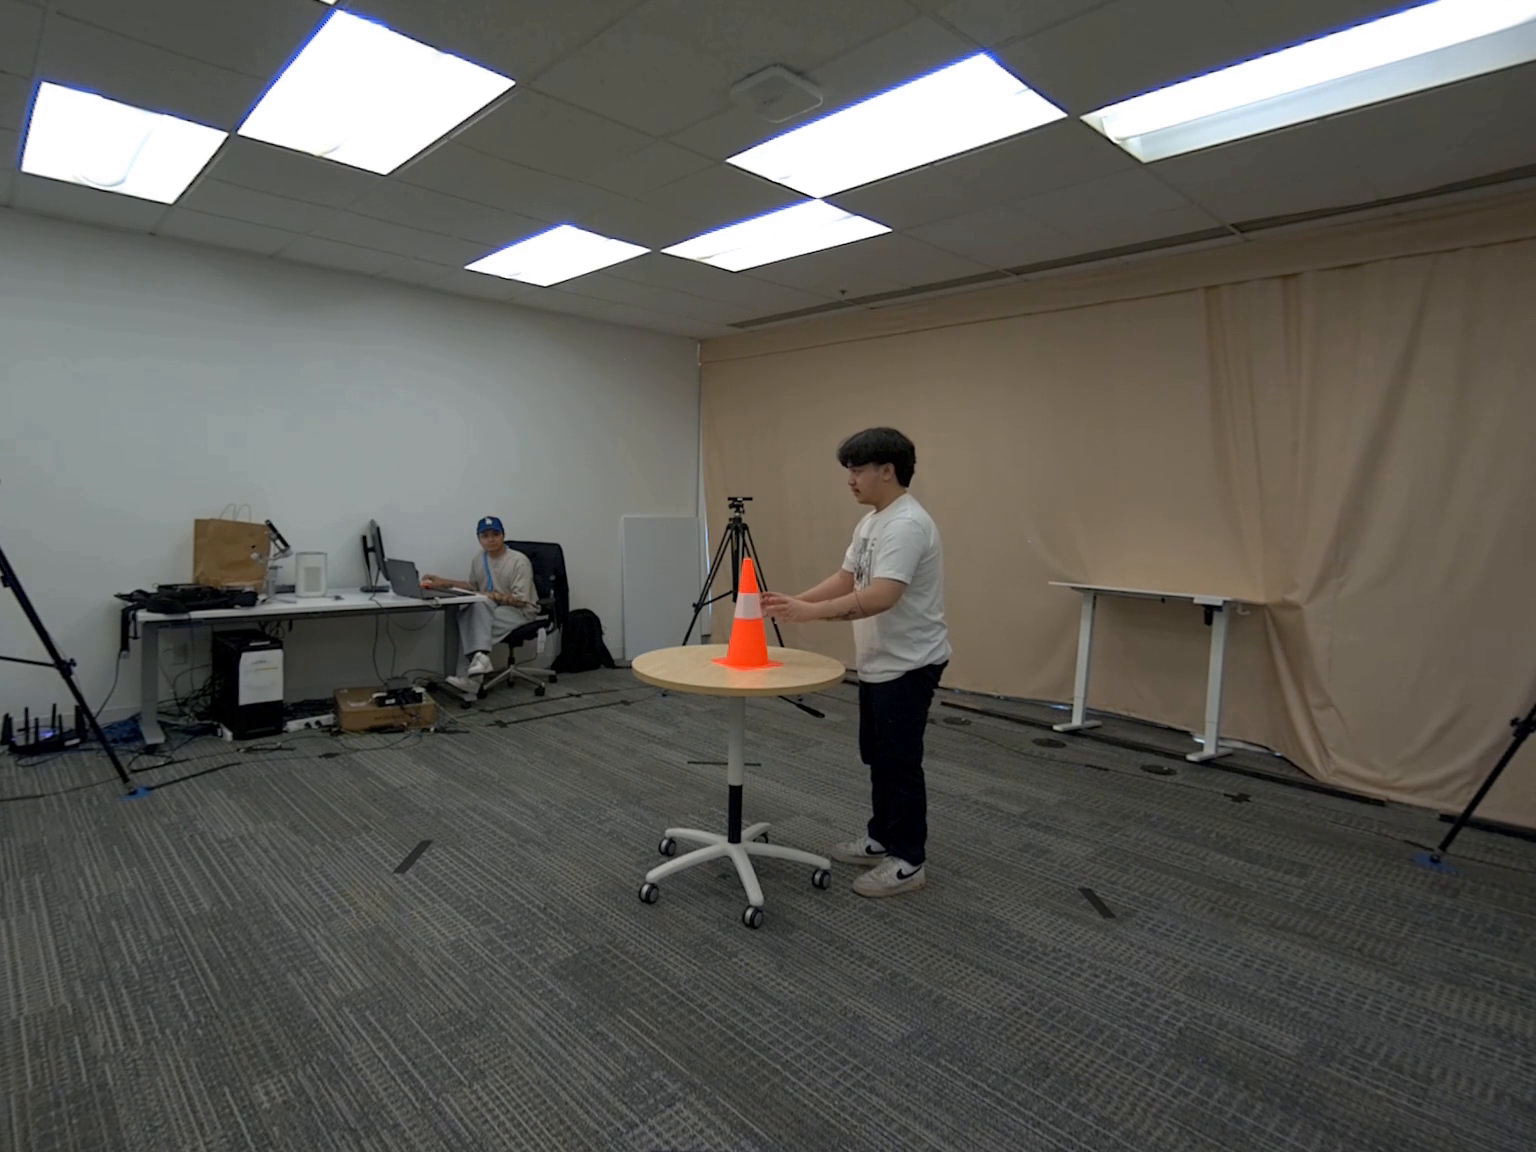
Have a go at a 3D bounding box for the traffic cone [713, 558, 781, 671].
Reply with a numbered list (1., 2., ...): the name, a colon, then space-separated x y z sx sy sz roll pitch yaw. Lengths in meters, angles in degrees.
1. traffic cone: -0.069 0.129 3.041 0.208 0.382 0.200 6 6 44
